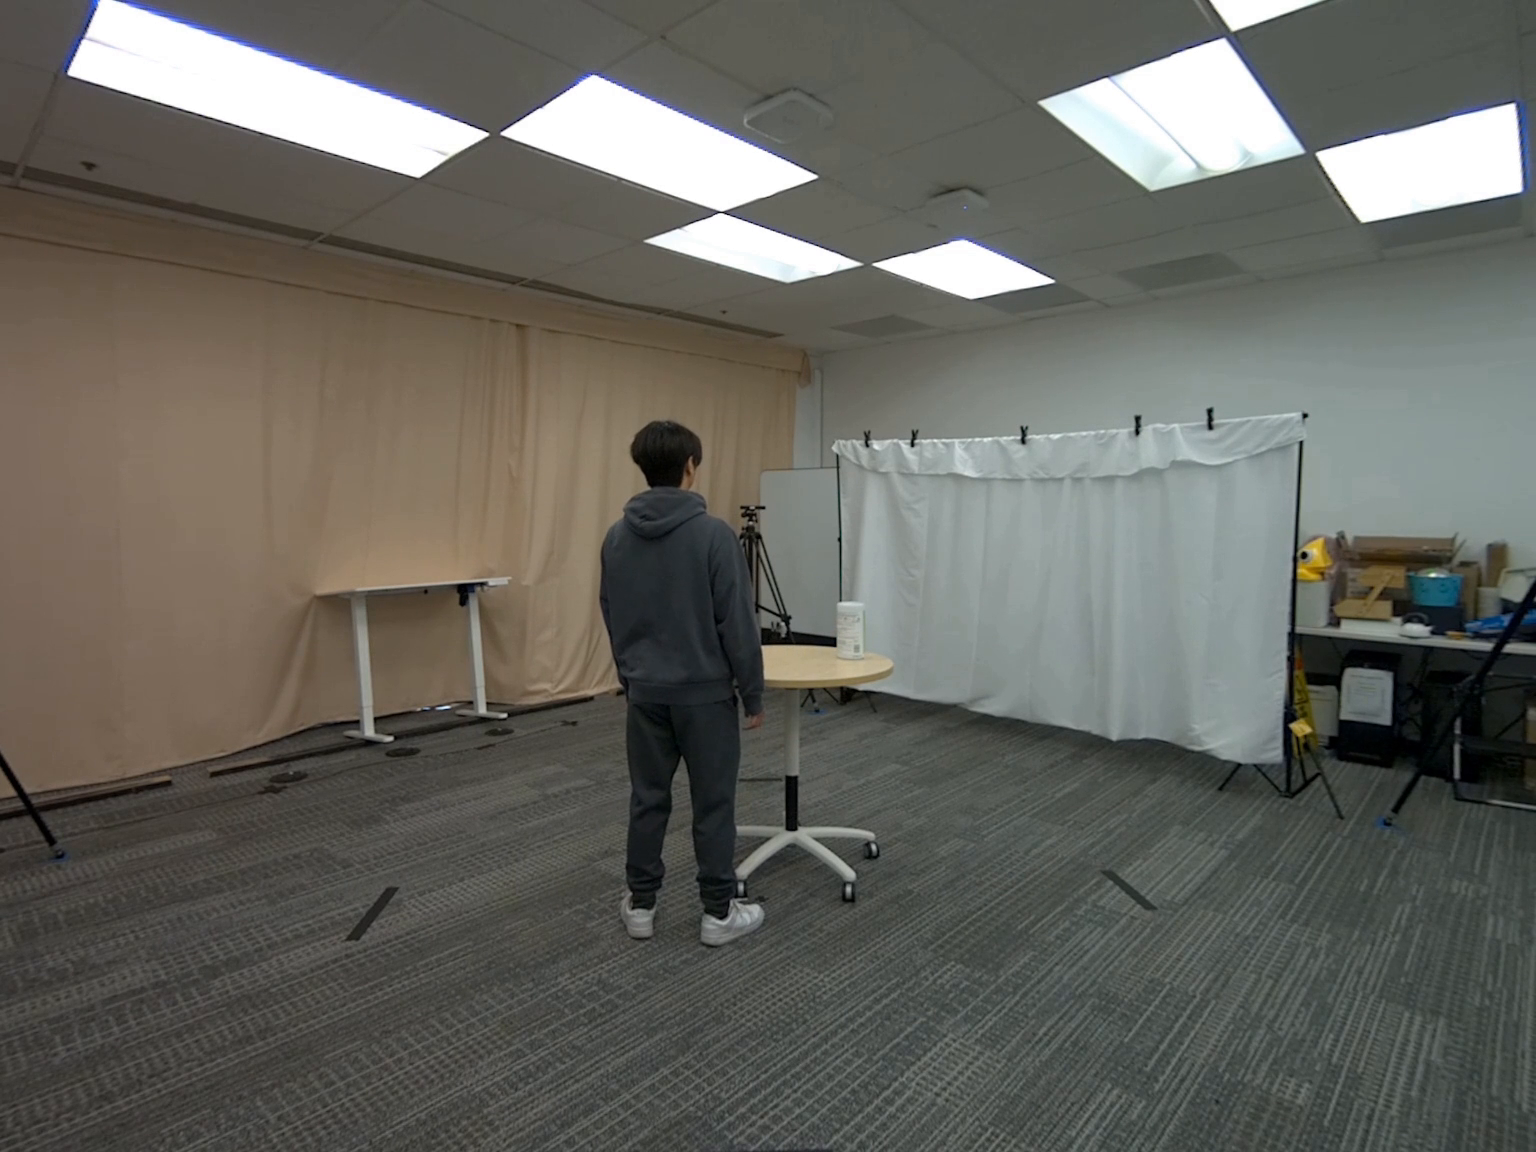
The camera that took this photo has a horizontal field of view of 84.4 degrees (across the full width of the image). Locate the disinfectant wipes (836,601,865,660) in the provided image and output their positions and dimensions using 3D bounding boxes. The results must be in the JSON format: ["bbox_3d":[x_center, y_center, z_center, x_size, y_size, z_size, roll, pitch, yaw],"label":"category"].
[{"bbox_3d":[0.329,0.214,3.291,0.118,0.217,0.118,-1,2,-2],"label":"disinfectant wipes"}]
